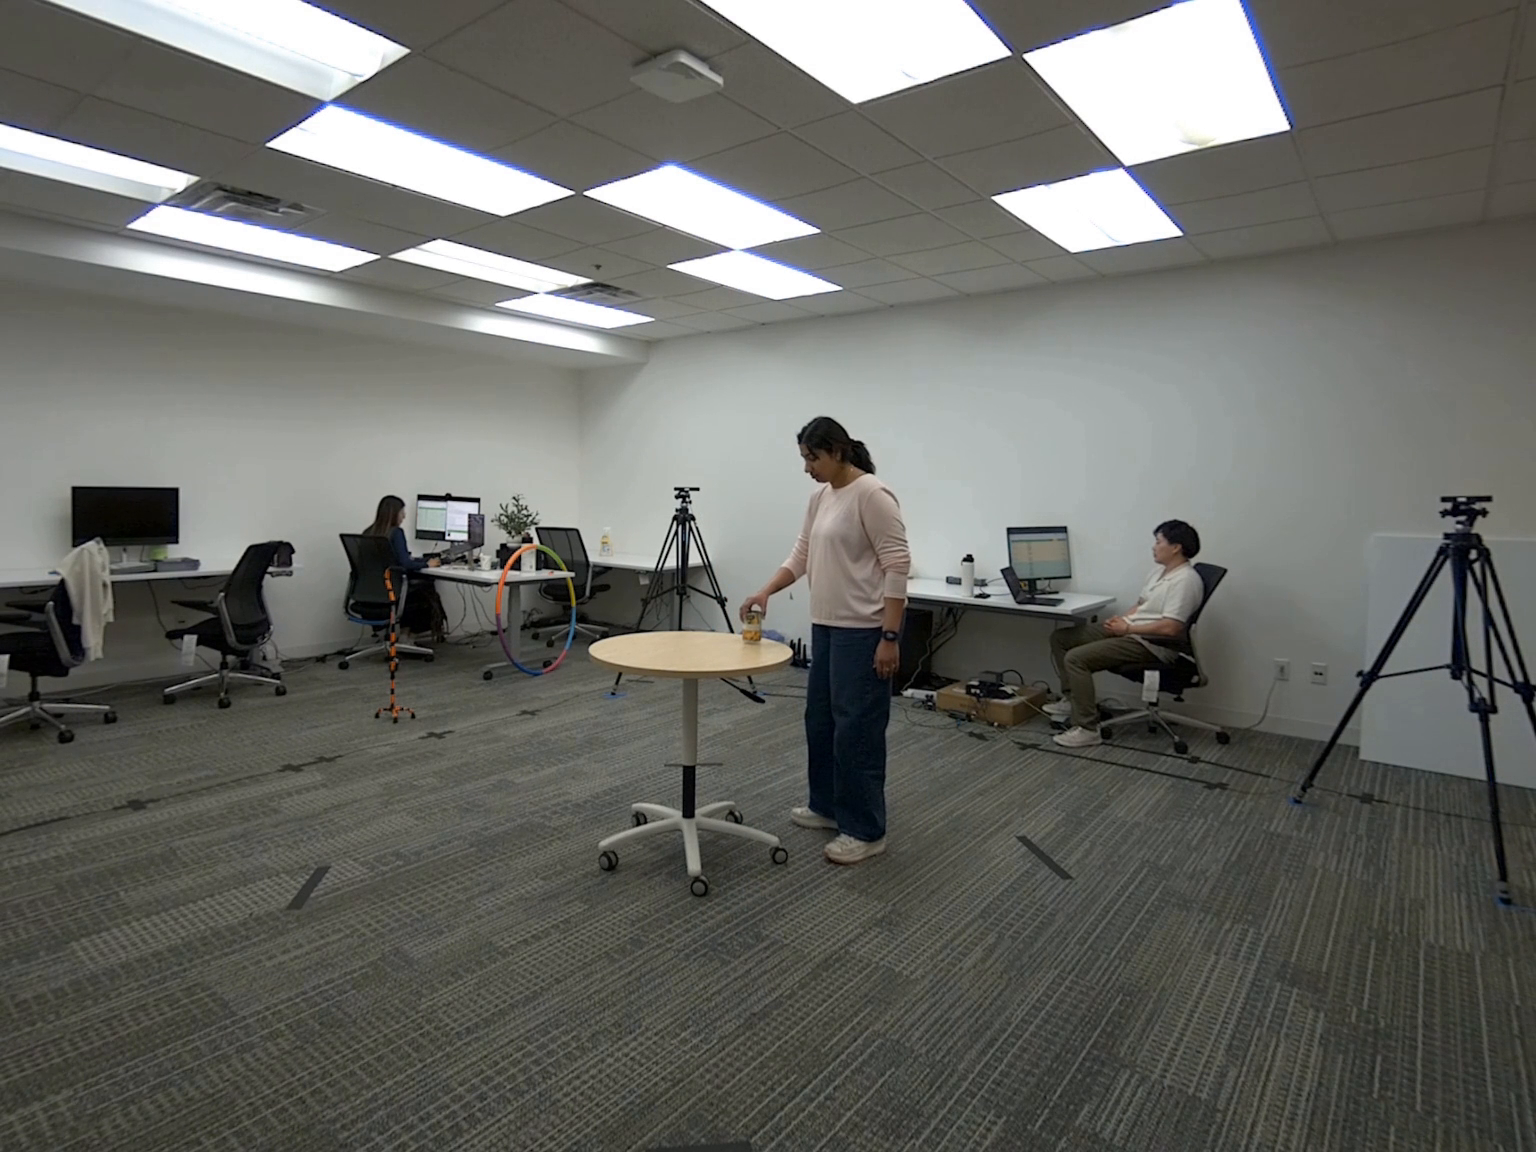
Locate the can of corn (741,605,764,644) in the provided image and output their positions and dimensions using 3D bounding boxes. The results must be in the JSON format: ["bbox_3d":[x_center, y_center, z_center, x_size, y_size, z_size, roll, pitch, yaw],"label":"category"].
[{"bbox_3d":[-0.072,0.196,3.357,0.074,0.110,0.075,4,5,-2],"label":"can of corn"}]
